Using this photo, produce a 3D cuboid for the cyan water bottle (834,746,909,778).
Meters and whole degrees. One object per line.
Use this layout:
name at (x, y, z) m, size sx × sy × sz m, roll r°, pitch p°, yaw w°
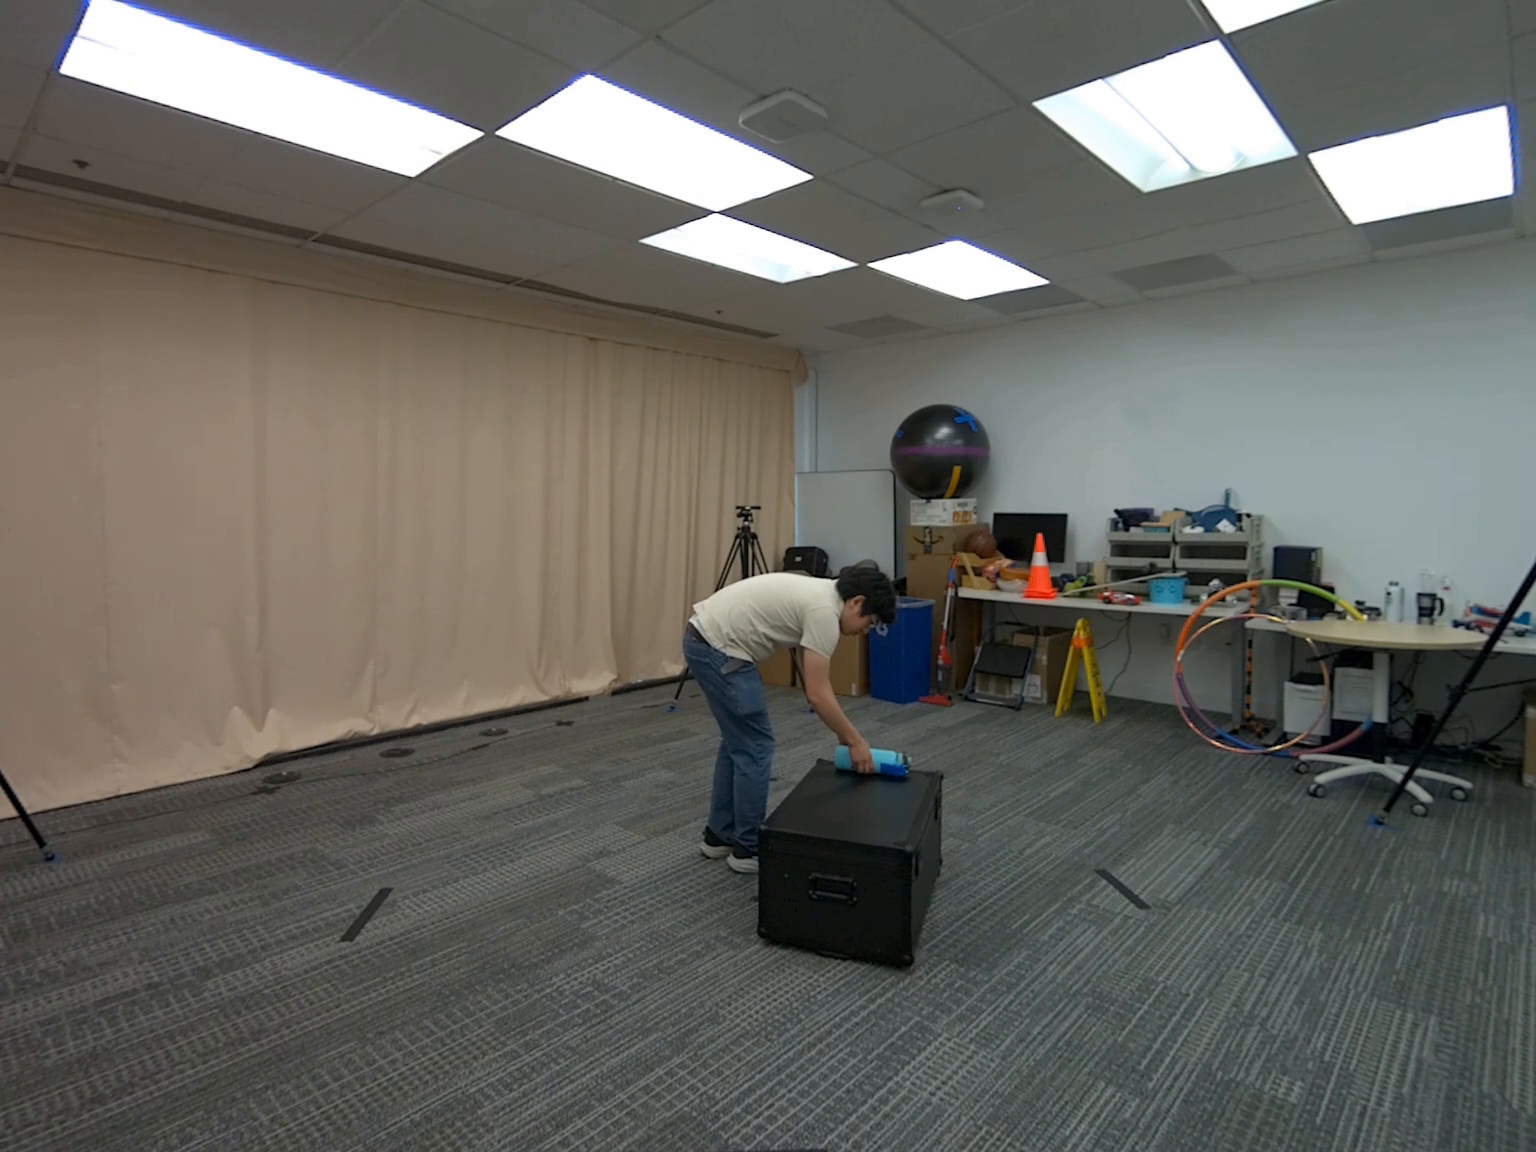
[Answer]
cyan water bottle at (0.410, 0.707, 3.195) m, size 0.288 × 0.092 × 0.091 m, roll 1°, pitch 4°, yaw 17°
